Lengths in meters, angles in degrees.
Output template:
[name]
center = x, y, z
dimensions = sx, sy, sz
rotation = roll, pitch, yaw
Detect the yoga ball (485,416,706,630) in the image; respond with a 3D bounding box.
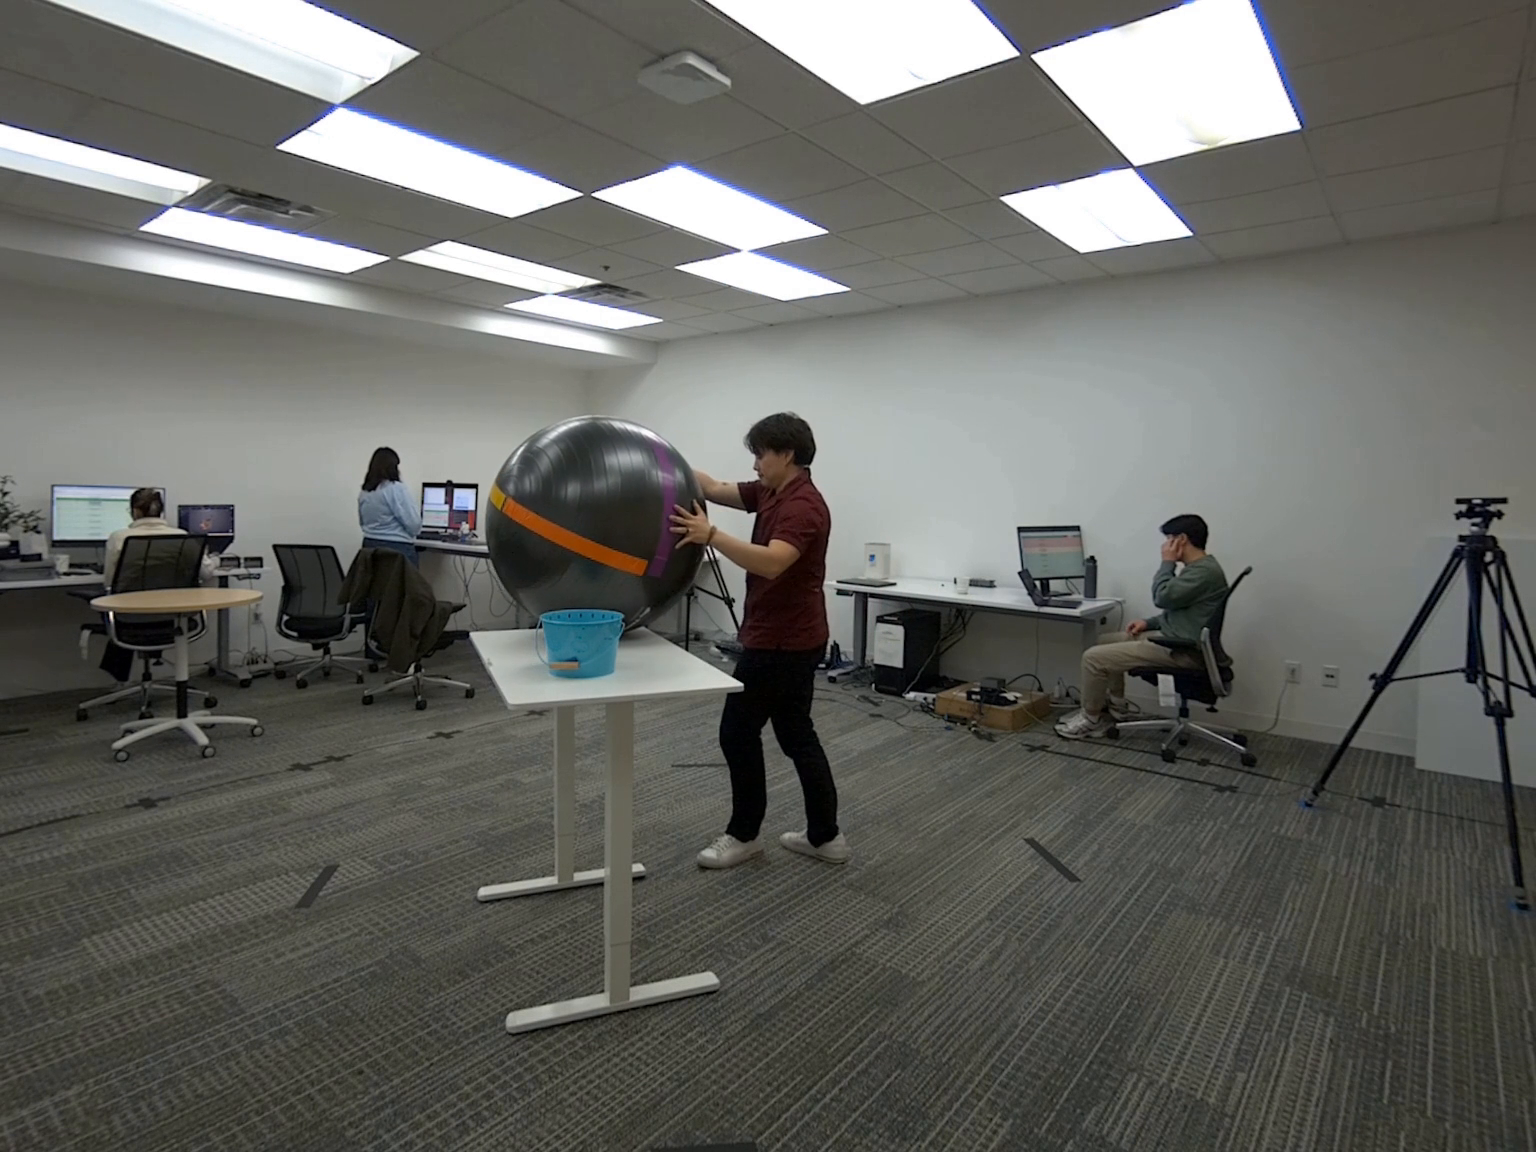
[yoga ball]
center = -0.598, -0.170, 2.934
dimensions = 0.757, 0.756, 0.762
rotation = 1, 4, -2
